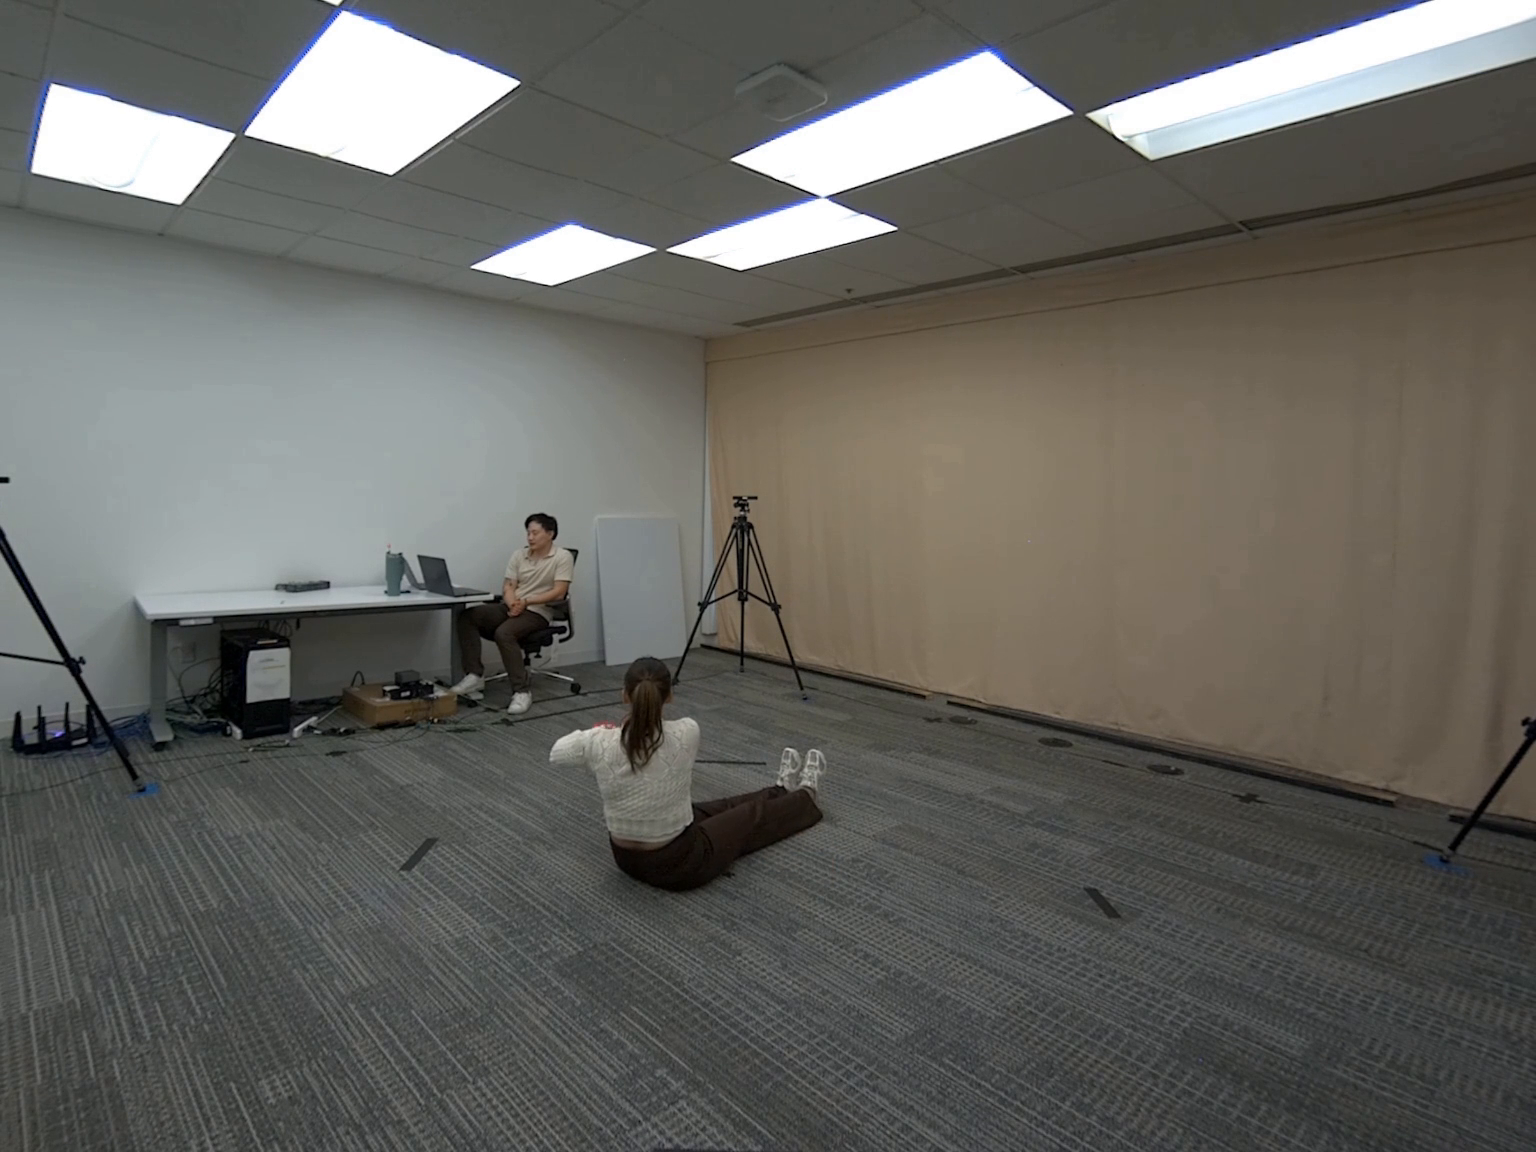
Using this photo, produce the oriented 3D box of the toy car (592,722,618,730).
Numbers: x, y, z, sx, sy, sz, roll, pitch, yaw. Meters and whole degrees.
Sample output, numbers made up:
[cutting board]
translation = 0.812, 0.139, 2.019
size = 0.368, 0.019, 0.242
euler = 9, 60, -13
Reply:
[toy car]
translation = -0.655, 0.694, 3.500
size = 0.128, 0.083, 0.260
euler = 2, 8, -22
